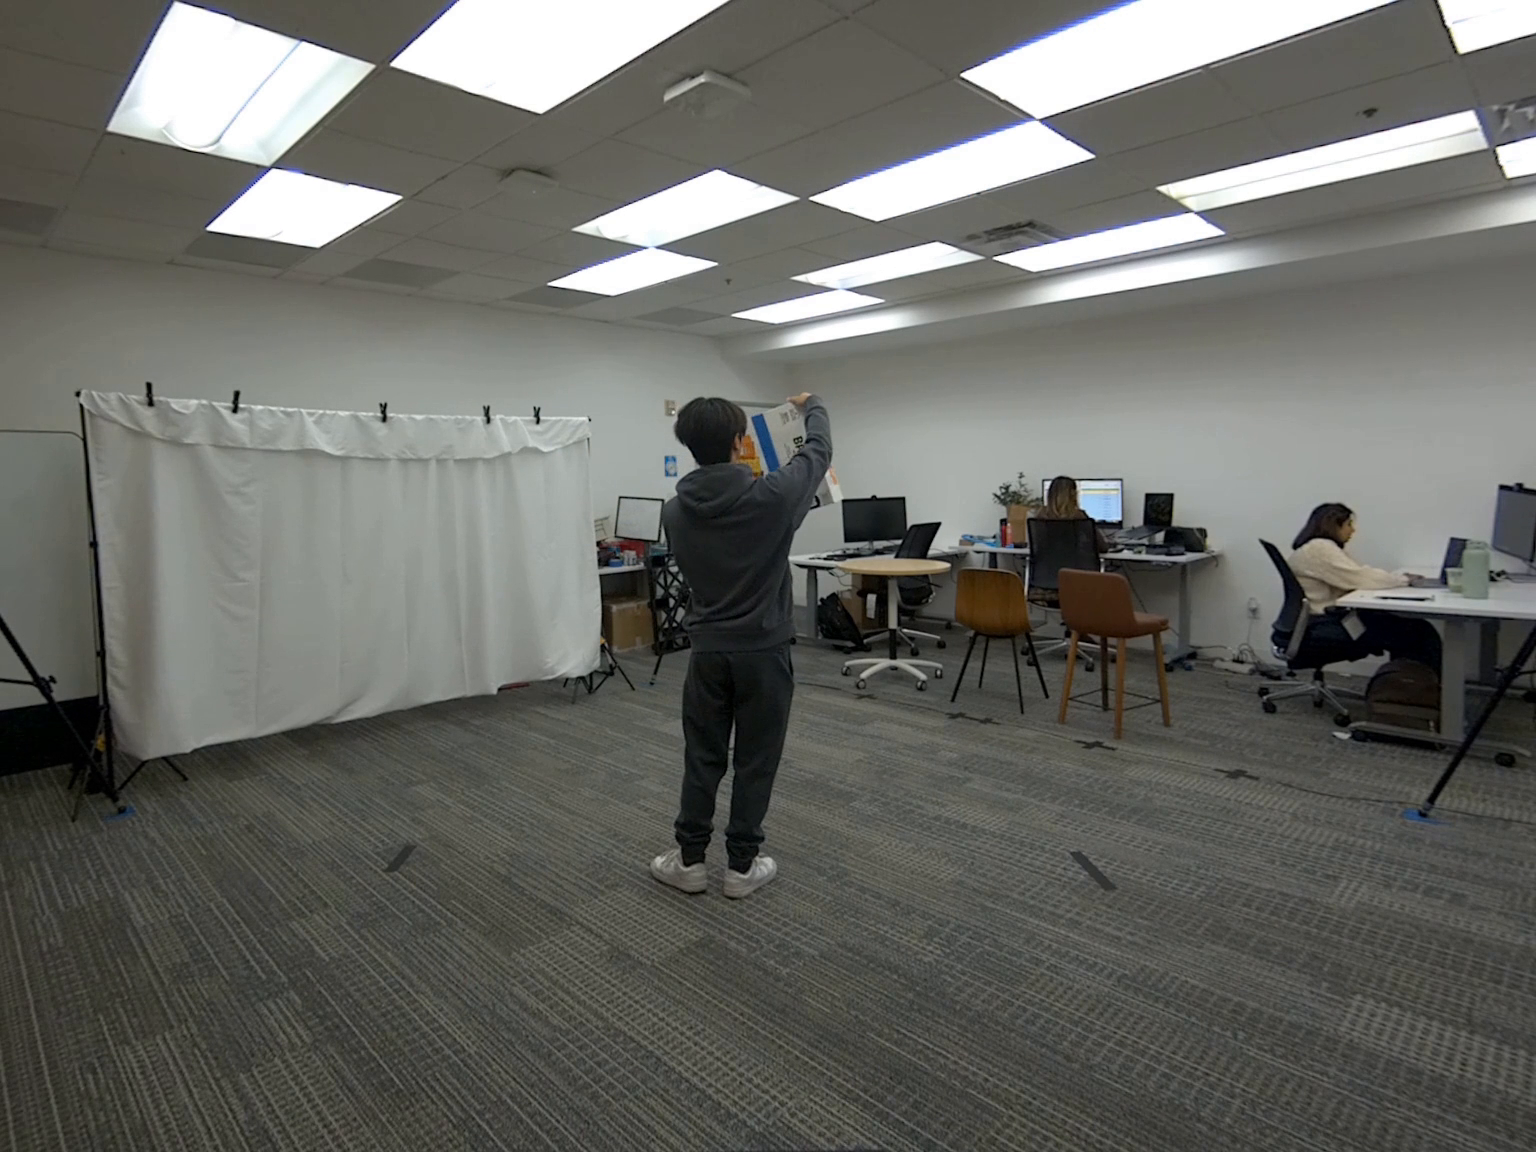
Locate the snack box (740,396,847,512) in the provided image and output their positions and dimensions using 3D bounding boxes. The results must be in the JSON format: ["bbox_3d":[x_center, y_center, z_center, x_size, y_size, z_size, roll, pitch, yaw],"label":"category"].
[{"bbox_3d":[0.057,-0.435,3.278,0.344,0.404,0.203,-17,2,20],"label":"snack box"}]
